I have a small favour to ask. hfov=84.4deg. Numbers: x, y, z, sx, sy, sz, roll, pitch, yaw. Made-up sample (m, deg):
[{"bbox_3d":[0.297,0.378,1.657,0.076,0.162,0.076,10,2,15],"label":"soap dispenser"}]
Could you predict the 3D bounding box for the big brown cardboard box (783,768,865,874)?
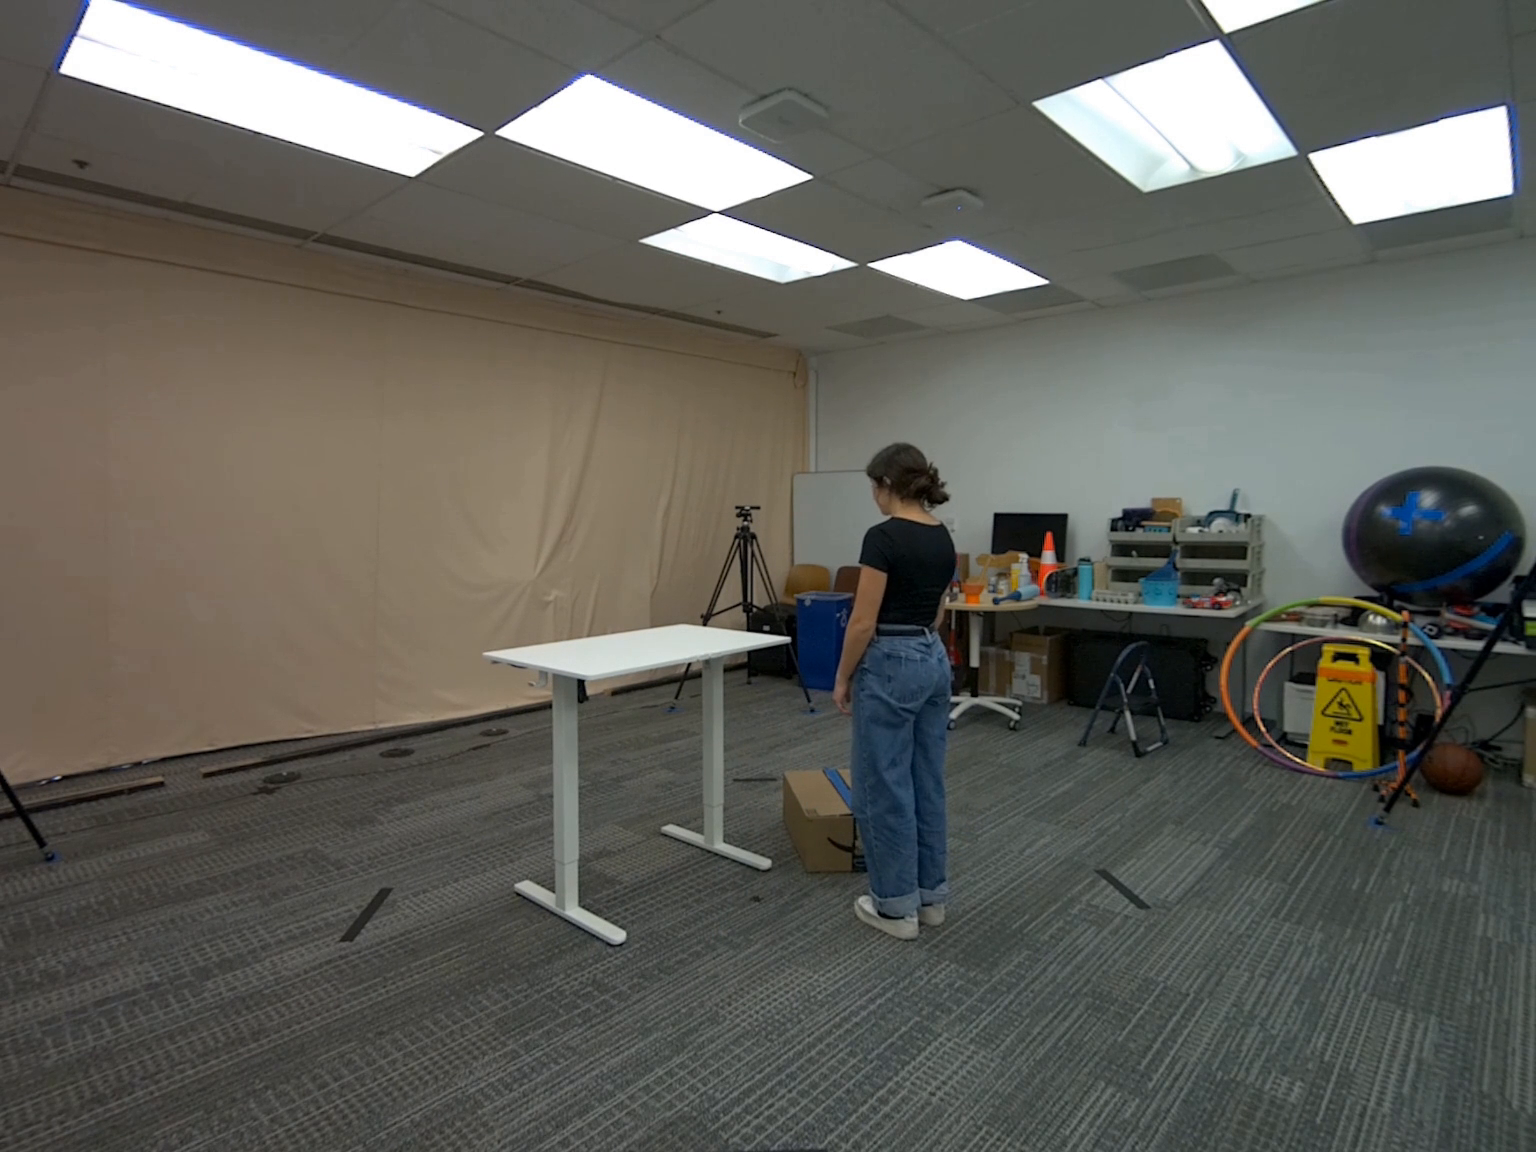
[{"bbox_3d":[0.314,0.990,3.468,0.415,0.233,0.594,0,4,-7],"label":"big brown cardboard box"}]
